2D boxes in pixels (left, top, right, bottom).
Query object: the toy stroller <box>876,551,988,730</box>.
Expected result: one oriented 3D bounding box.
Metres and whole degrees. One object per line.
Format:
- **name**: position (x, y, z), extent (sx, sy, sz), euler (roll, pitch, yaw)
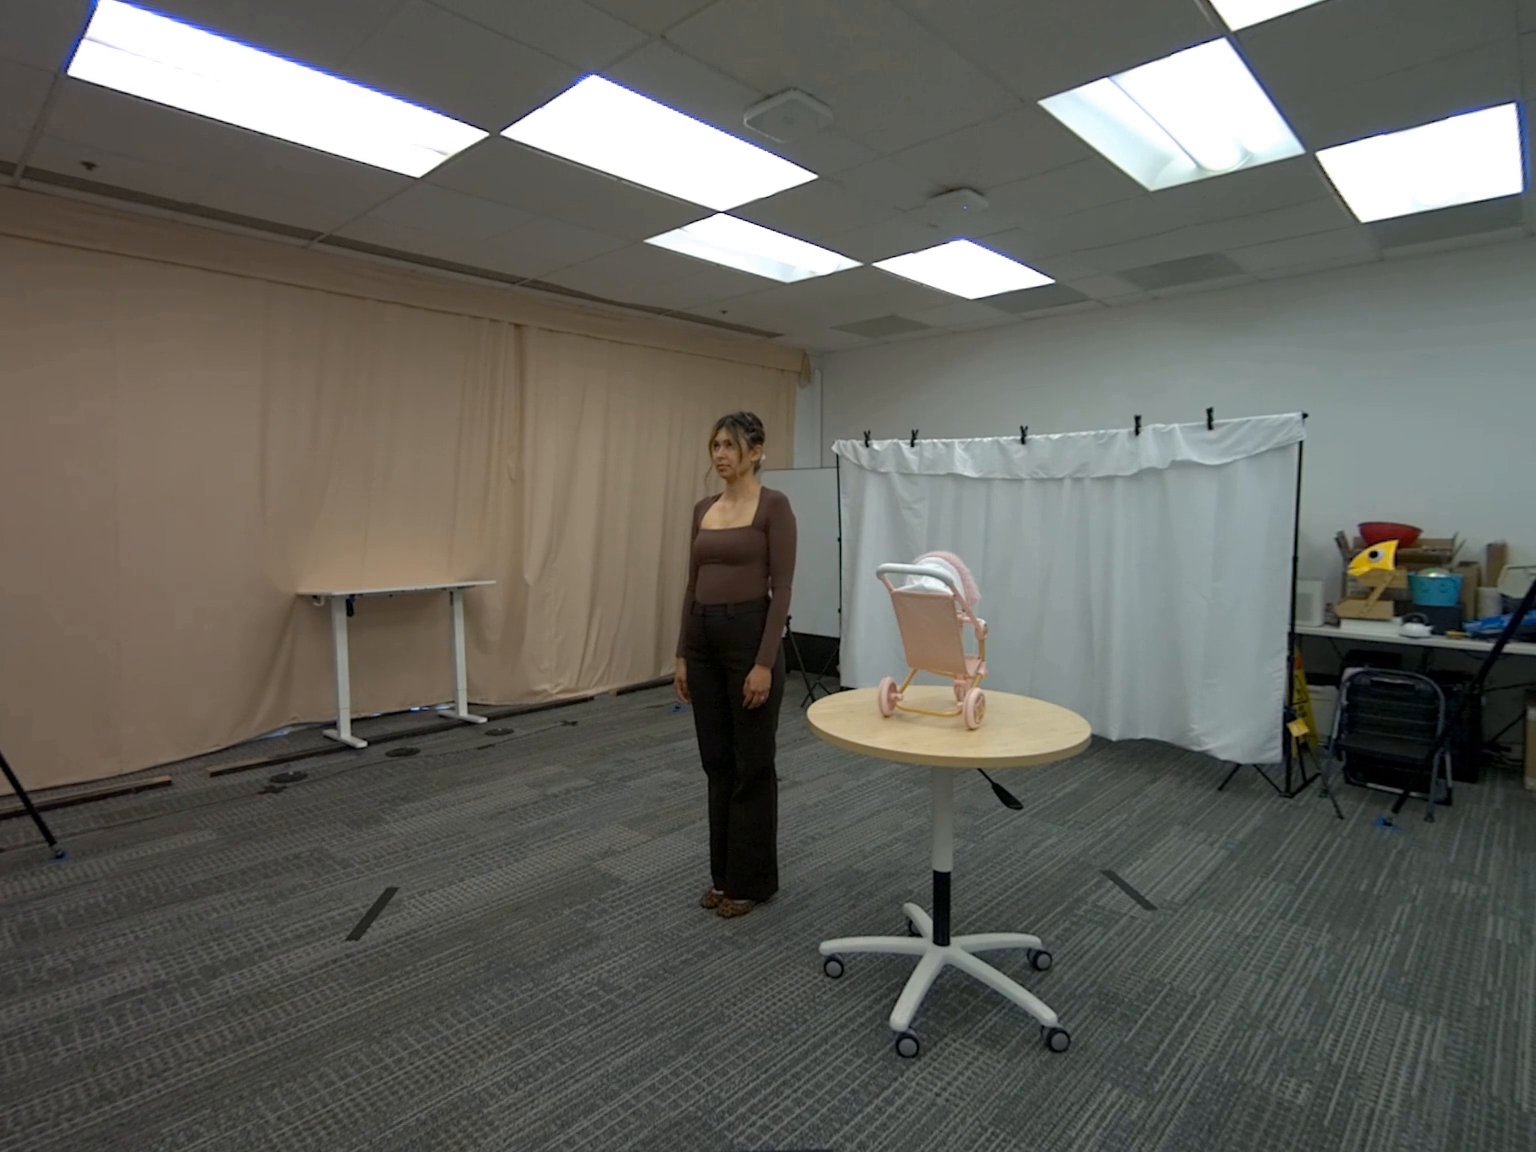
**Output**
- **toy stroller**: position (0.491, 0.174, 2.347), extent (0.290, 0.529, 0.334), euler (2, 18, 38)
